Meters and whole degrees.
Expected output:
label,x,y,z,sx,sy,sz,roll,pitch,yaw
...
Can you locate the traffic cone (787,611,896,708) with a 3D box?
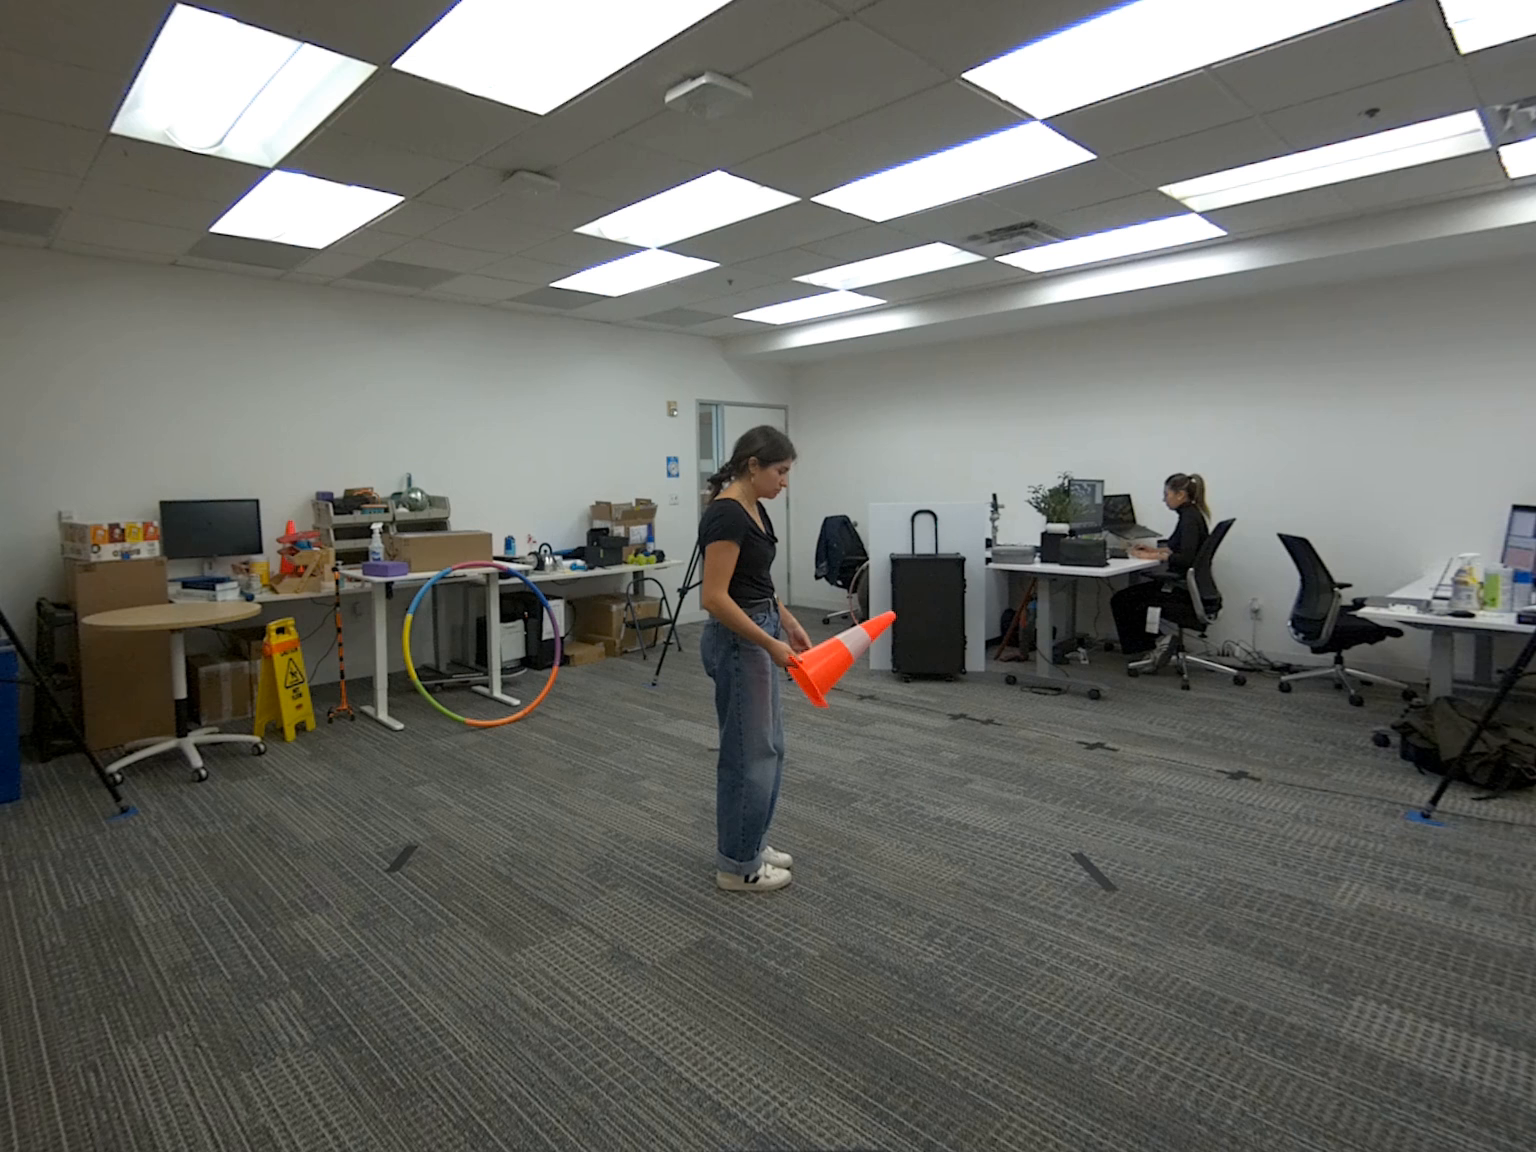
label,x,y,z,sx,sy,sz,roll,pitch,yaw
traffic cone,0.259,0.229,2.784,0.382,0.203,0.206,-33,3,-10
